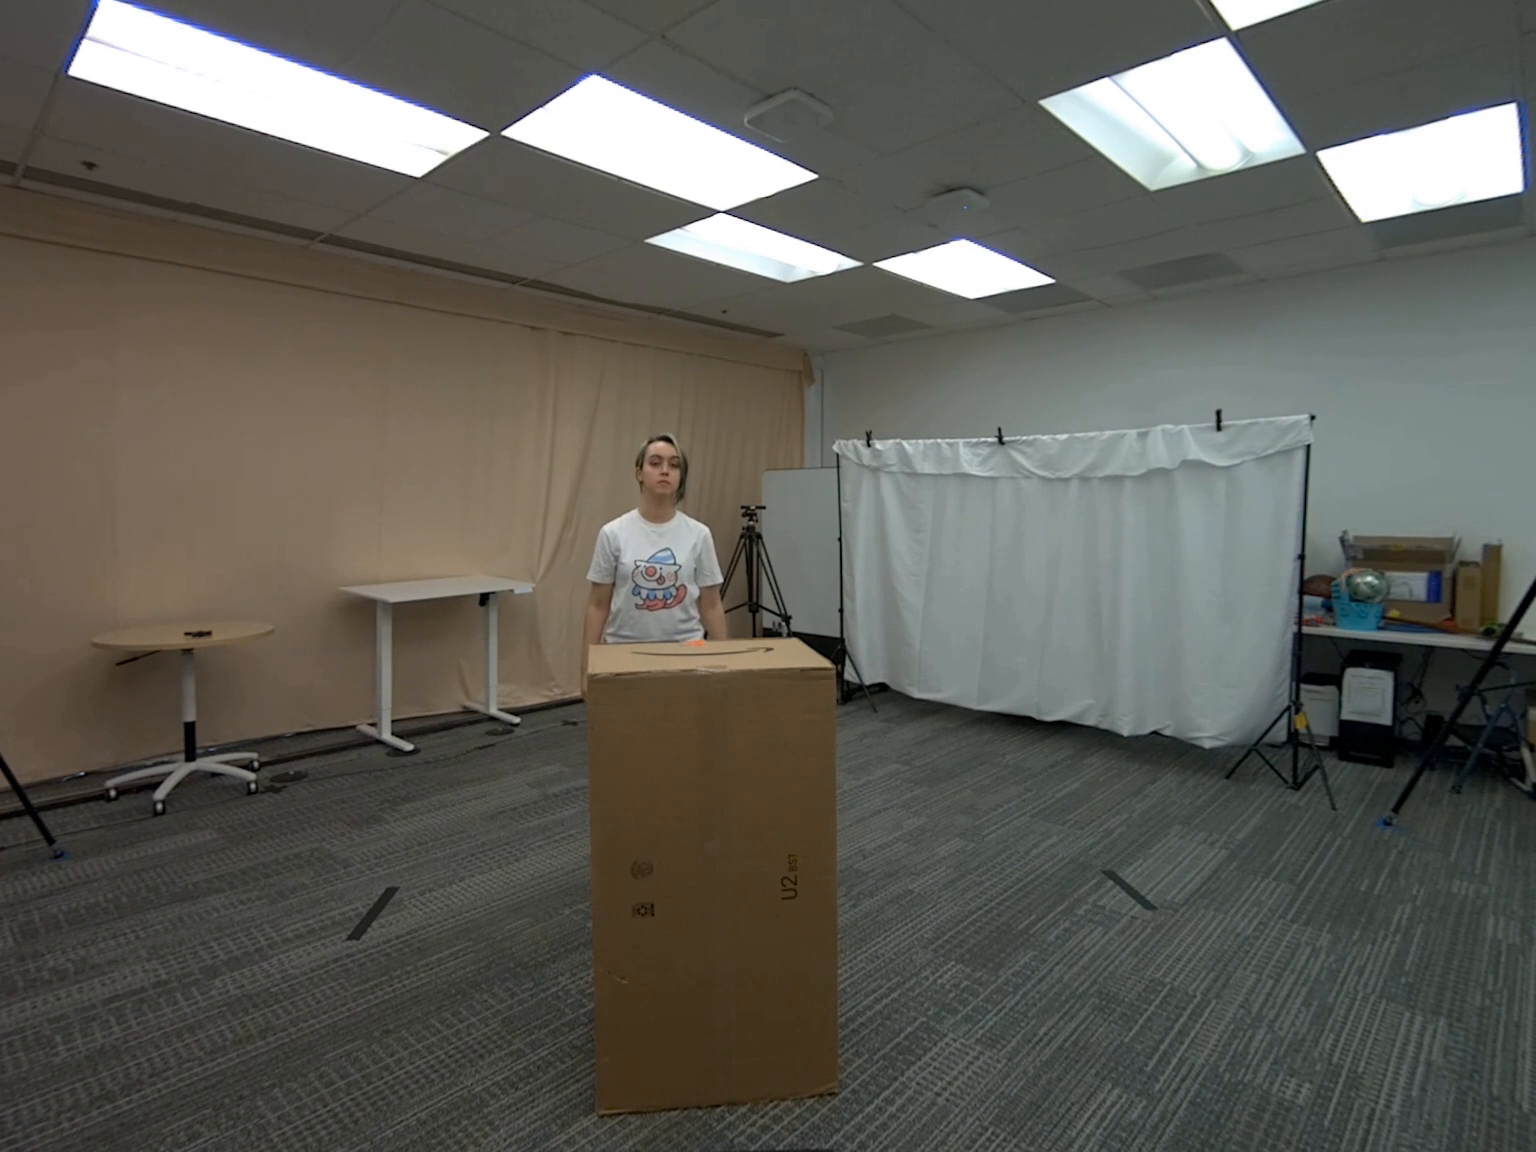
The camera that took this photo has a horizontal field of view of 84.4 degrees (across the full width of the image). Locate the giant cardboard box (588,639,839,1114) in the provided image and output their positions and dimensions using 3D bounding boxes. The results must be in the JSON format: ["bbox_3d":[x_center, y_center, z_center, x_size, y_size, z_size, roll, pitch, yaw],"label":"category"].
[{"bbox_3d":[-0.152,0.710,2.135,0.578,1.024,0.452,-1,4,-9],"label":"giant cardboard box"}]
